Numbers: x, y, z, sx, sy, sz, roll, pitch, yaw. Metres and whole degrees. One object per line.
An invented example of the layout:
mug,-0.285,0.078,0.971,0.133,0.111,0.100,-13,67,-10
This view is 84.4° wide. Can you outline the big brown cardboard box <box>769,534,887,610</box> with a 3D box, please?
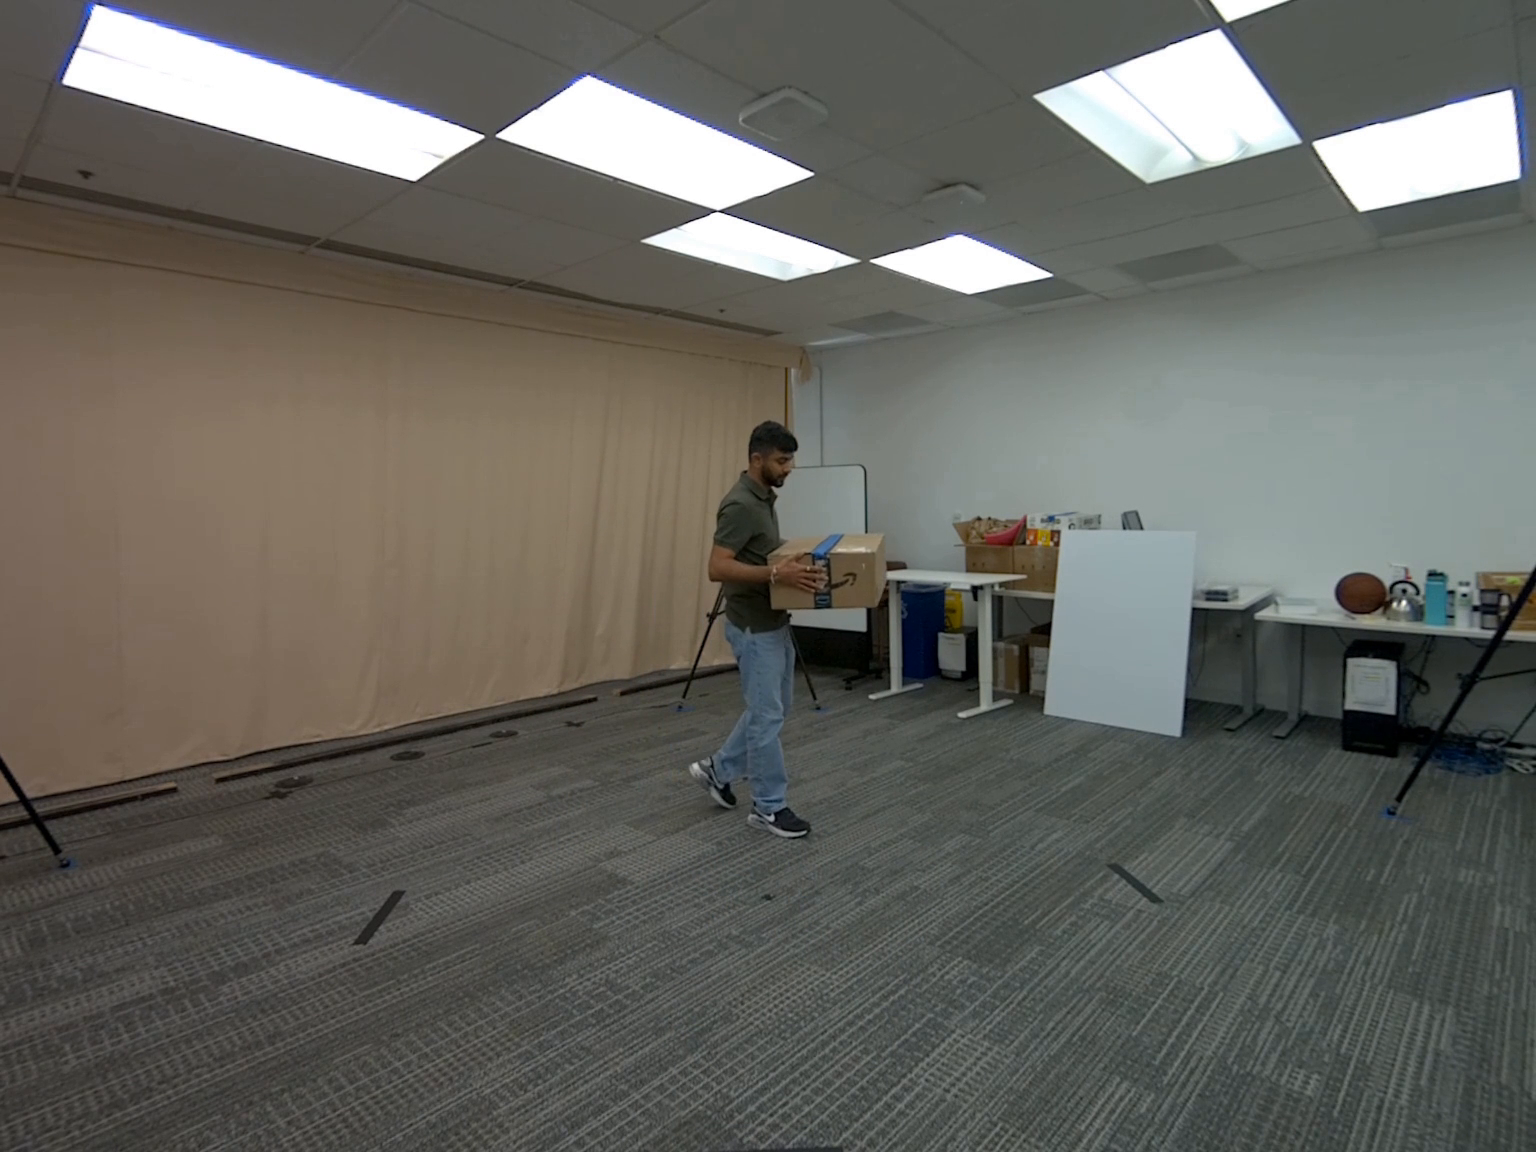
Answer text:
big brown cardboard box,0.251,-0.025,3.510,0.423,0.232,0.585,-3,8,10
